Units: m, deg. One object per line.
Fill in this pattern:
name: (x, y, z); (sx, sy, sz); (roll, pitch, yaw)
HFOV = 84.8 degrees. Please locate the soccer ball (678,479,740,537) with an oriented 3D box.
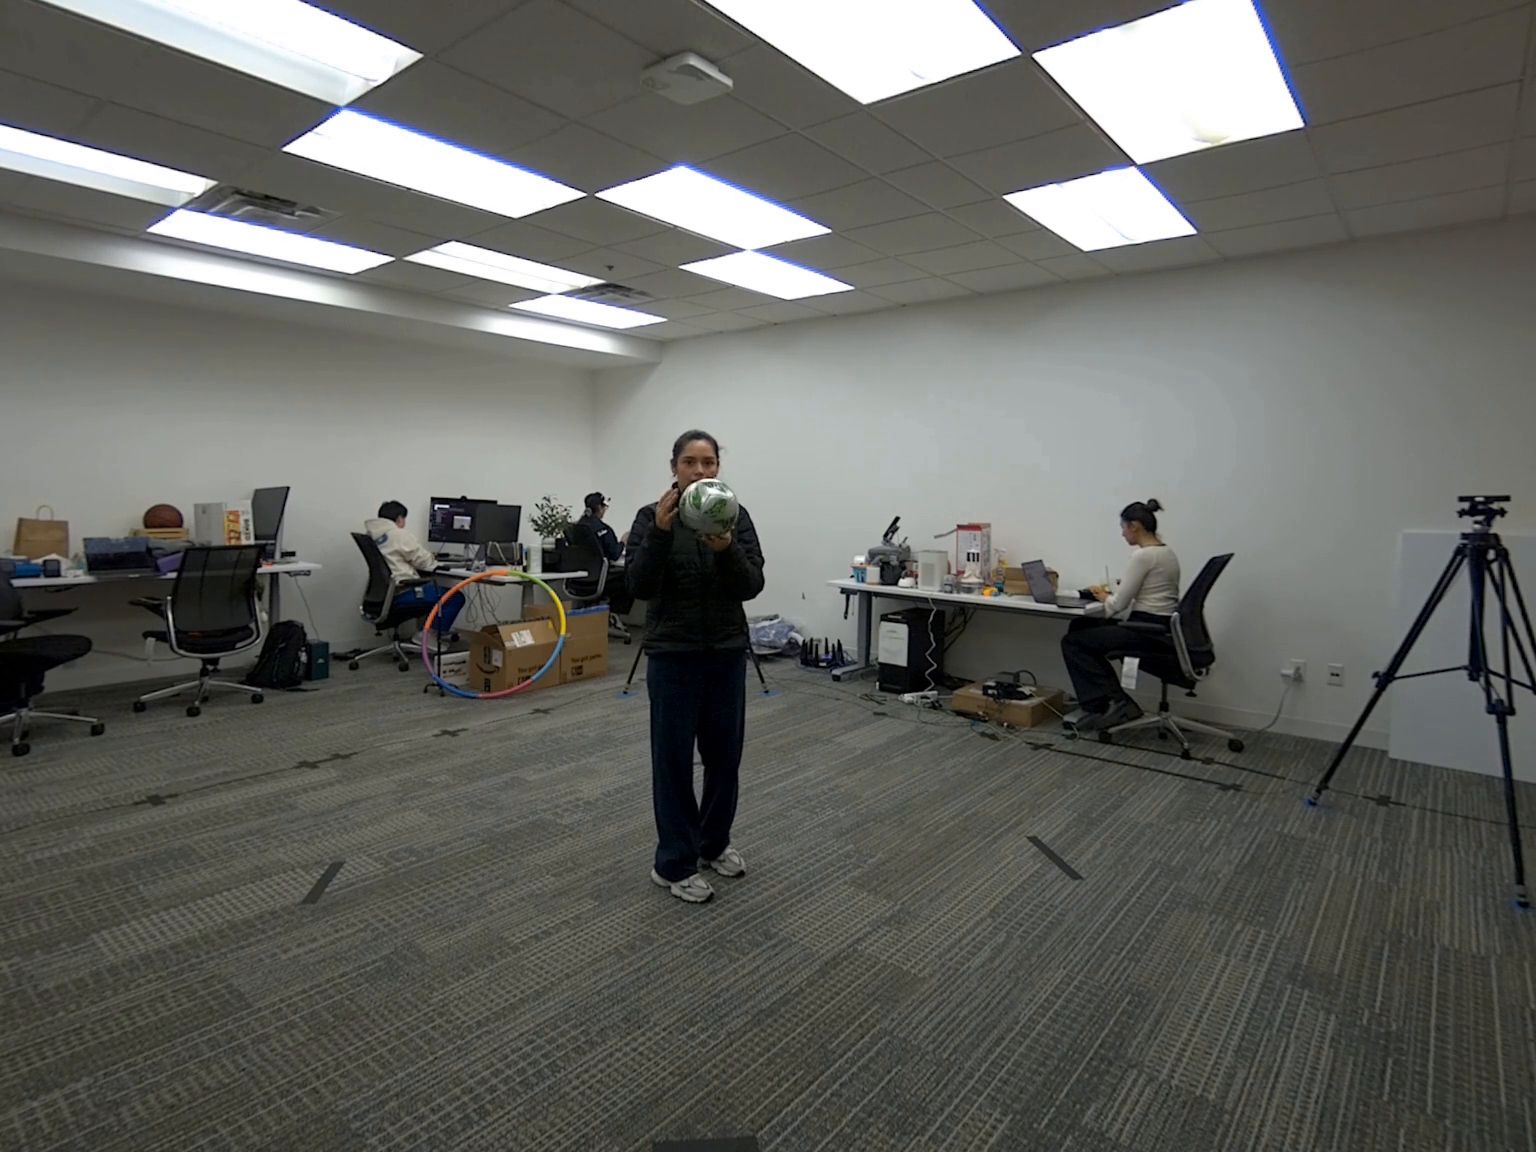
soccer ball: (-0.199, -0.208, 2.666); (0.187, 0.187, 0.188); (1, 4, -2)
